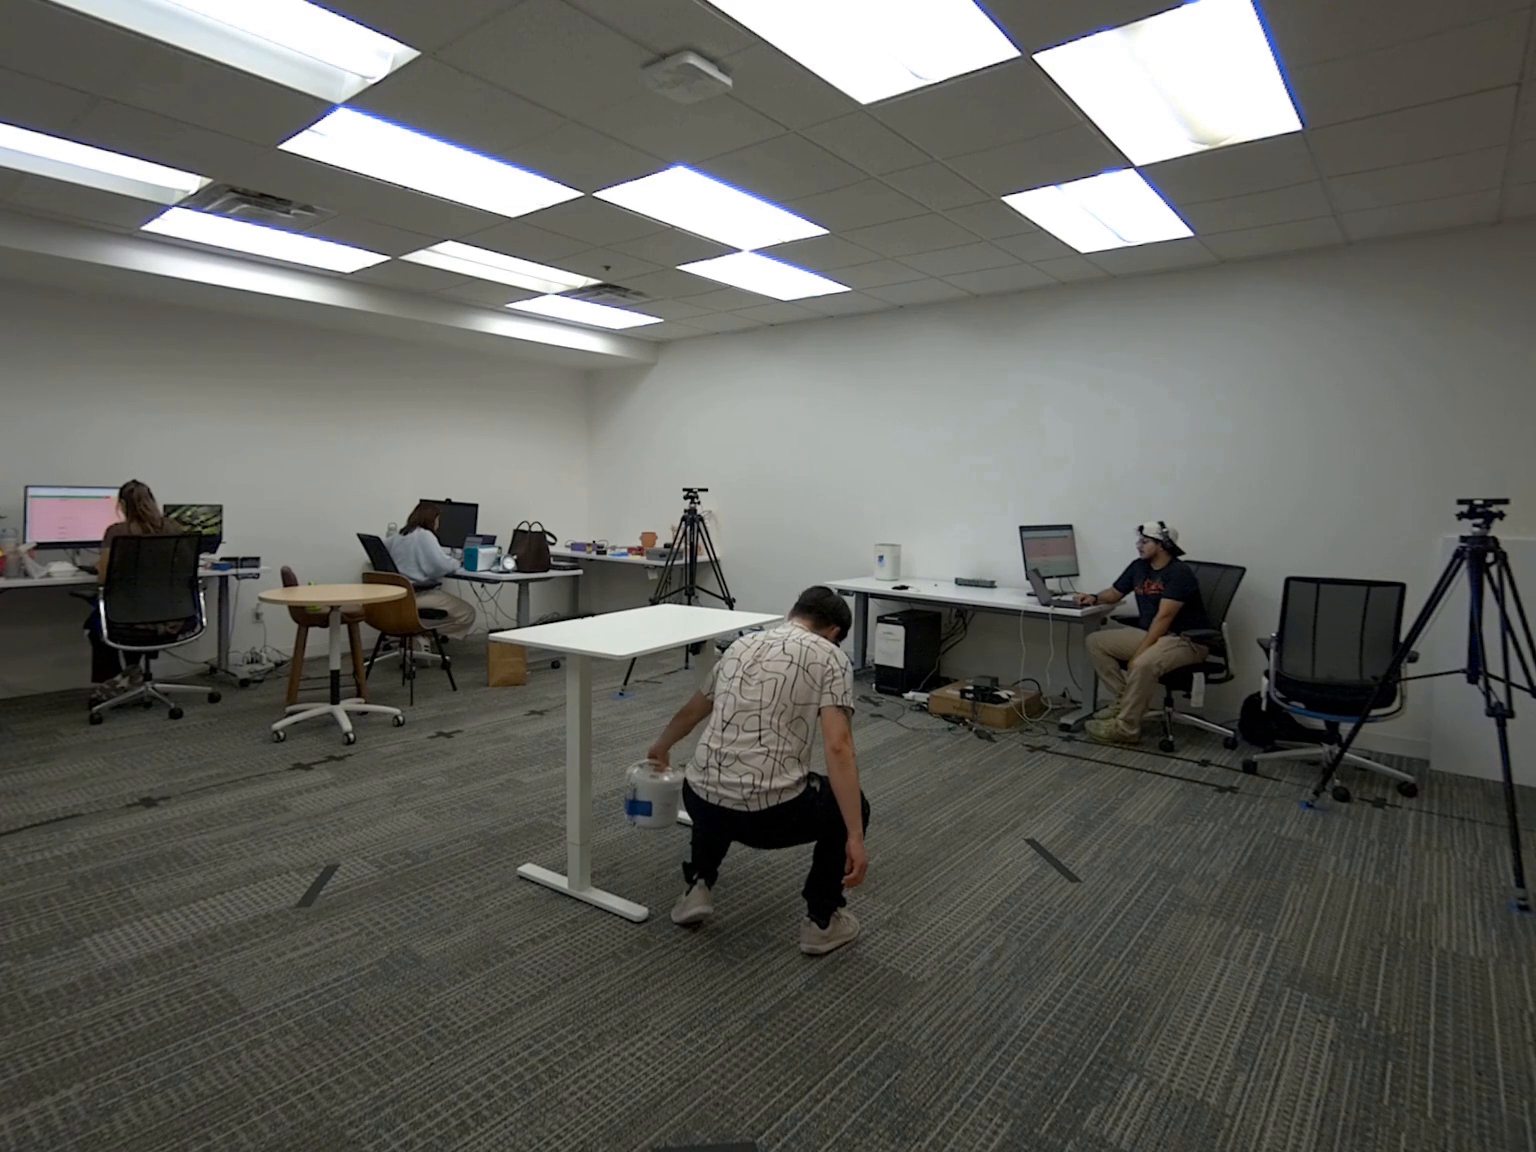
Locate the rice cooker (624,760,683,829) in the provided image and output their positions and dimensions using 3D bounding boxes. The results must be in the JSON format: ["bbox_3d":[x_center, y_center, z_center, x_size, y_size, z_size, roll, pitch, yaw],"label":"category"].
[{"bbox_3d":[-0.428,0.783,3.126,0.219,0.231,0.220,9,7,-6],"label":"rice cooker"}]
